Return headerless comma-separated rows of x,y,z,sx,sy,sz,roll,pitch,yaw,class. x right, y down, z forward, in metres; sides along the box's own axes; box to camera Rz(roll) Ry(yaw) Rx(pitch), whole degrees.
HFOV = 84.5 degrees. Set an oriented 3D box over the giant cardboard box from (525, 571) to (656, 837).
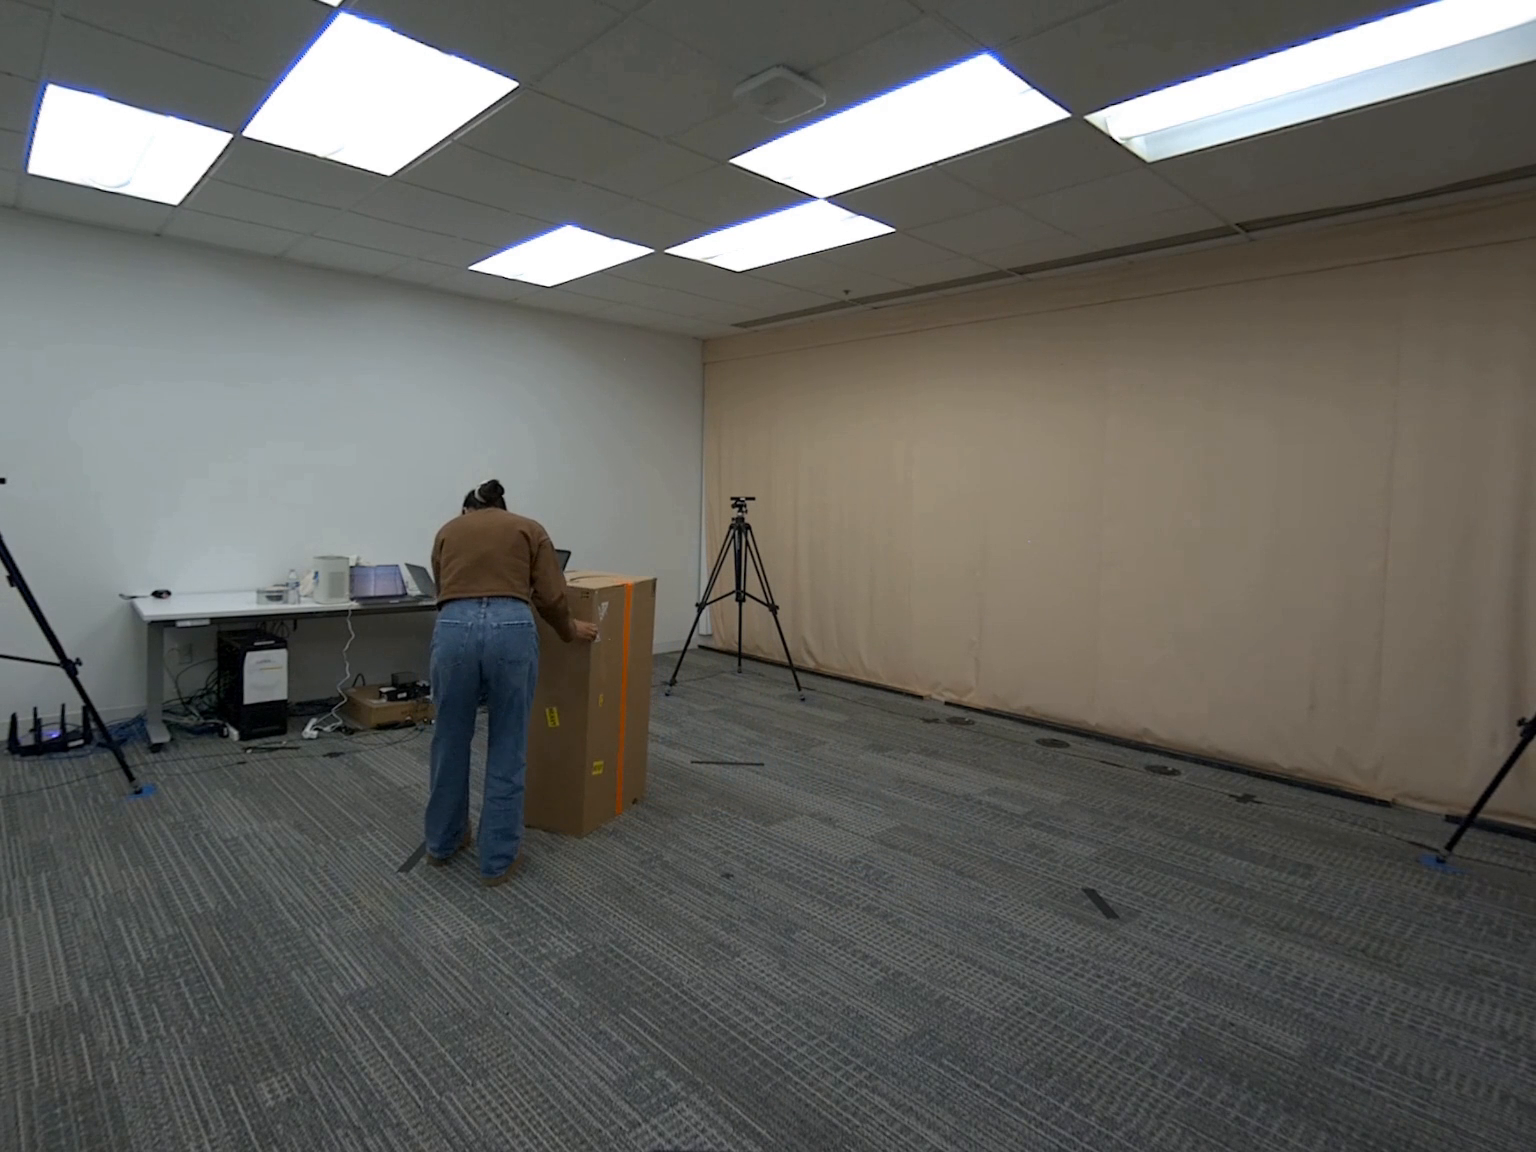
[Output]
-0.830,0.523,3.731,0.433,1.023,0.569,5,4,20,giant cardboard box
